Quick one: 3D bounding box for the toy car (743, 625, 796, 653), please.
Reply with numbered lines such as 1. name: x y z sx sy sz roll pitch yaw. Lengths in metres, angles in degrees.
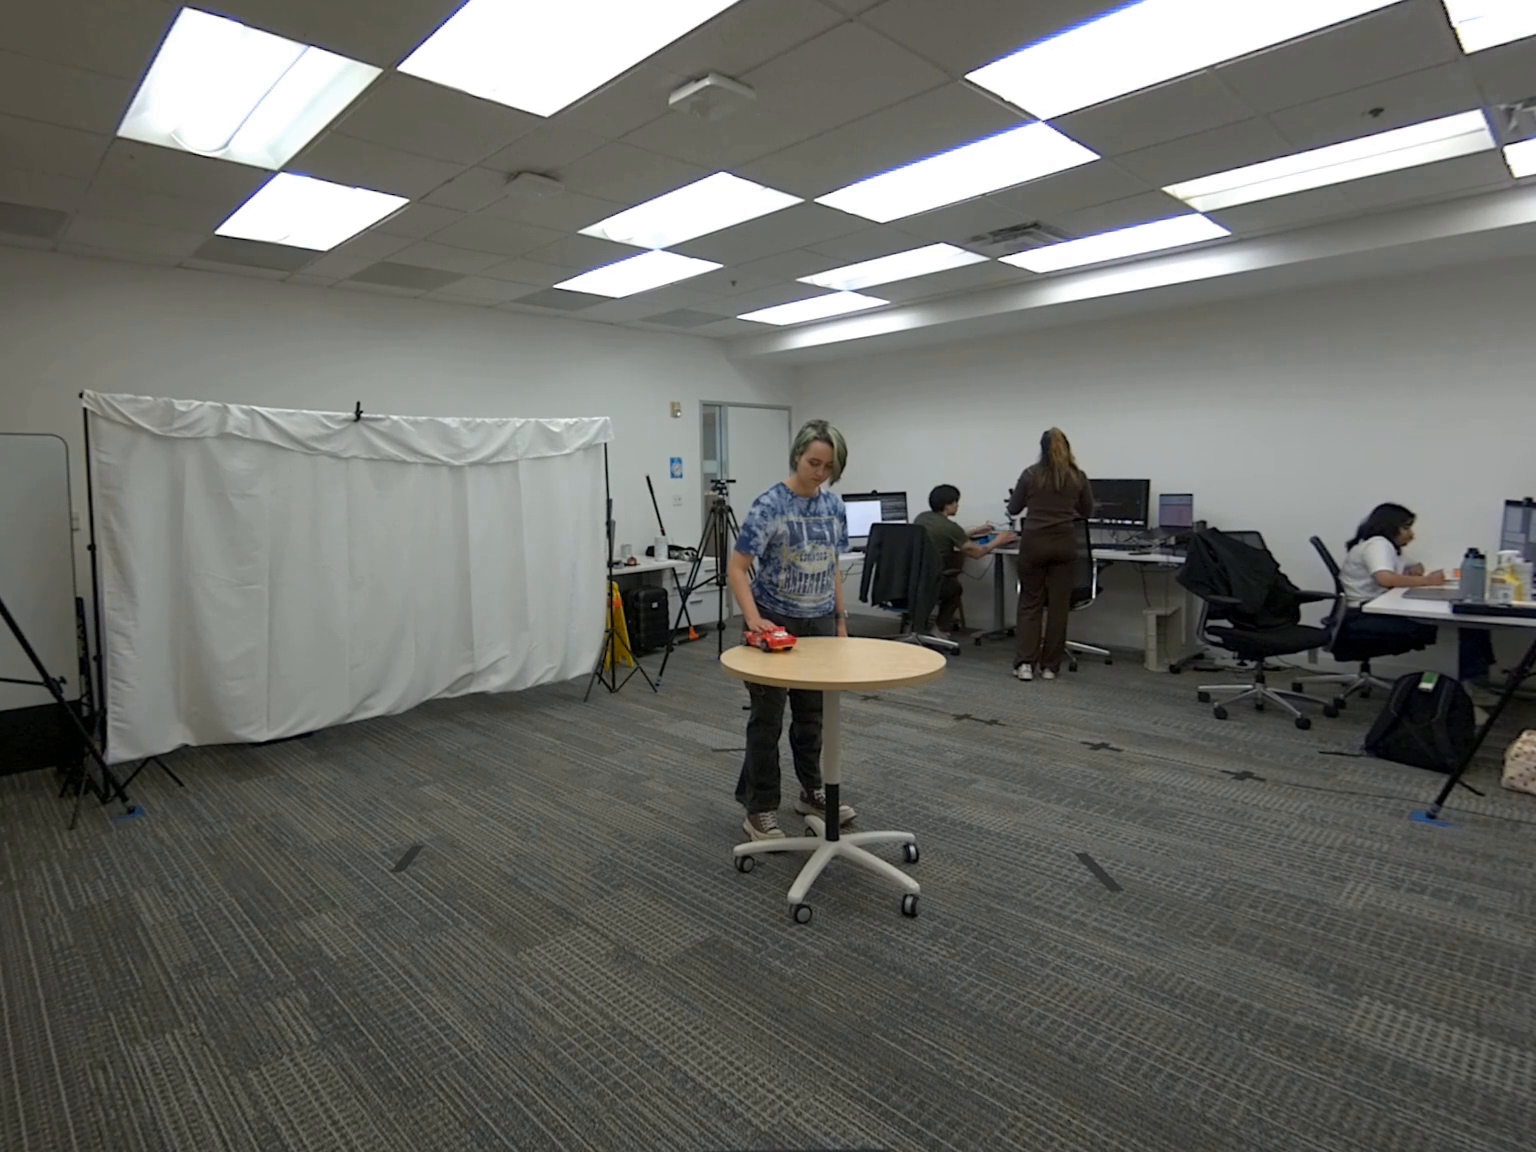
1. toy car: 0.001 0.235 3.094 0.127 0.084 0.259 -2 -6 -31
